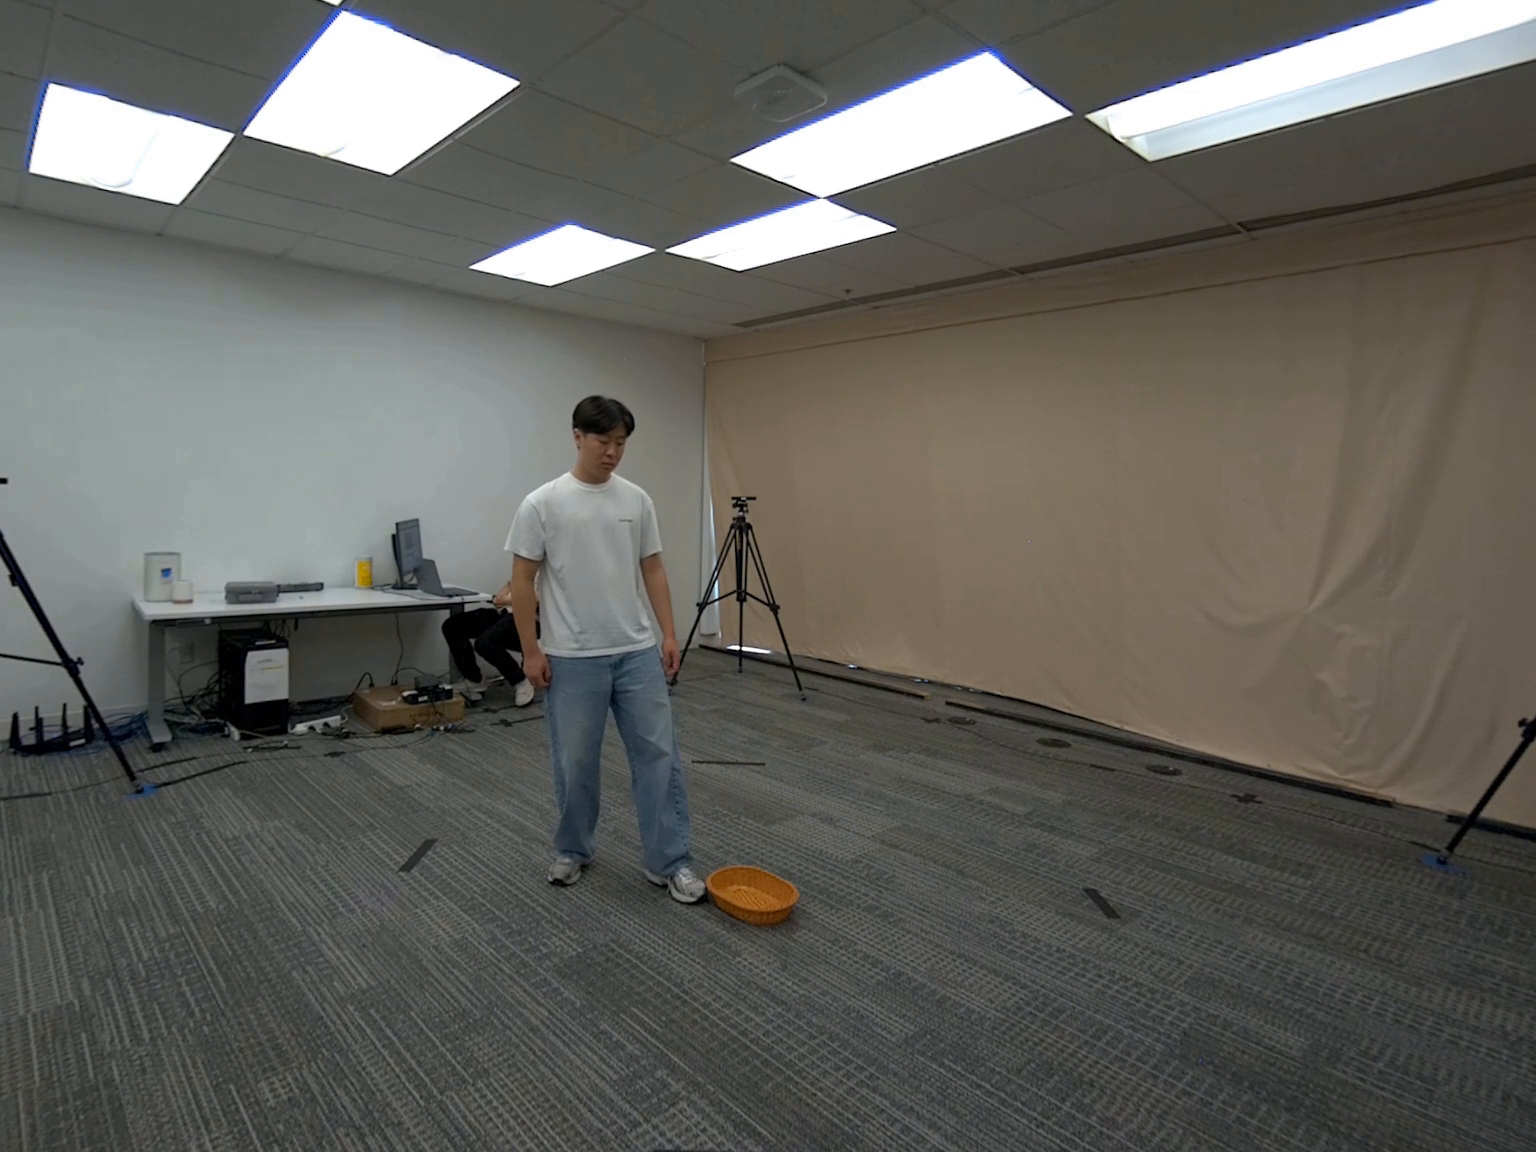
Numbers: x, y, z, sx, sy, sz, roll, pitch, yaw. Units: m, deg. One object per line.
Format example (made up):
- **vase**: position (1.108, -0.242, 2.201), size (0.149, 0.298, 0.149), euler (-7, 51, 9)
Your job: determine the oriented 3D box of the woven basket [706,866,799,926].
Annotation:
- **woven basket**: position (-0.075, 1.088, 2.871), size (0.247, 0.073, 0.359), euler (-5, 8, -43)
